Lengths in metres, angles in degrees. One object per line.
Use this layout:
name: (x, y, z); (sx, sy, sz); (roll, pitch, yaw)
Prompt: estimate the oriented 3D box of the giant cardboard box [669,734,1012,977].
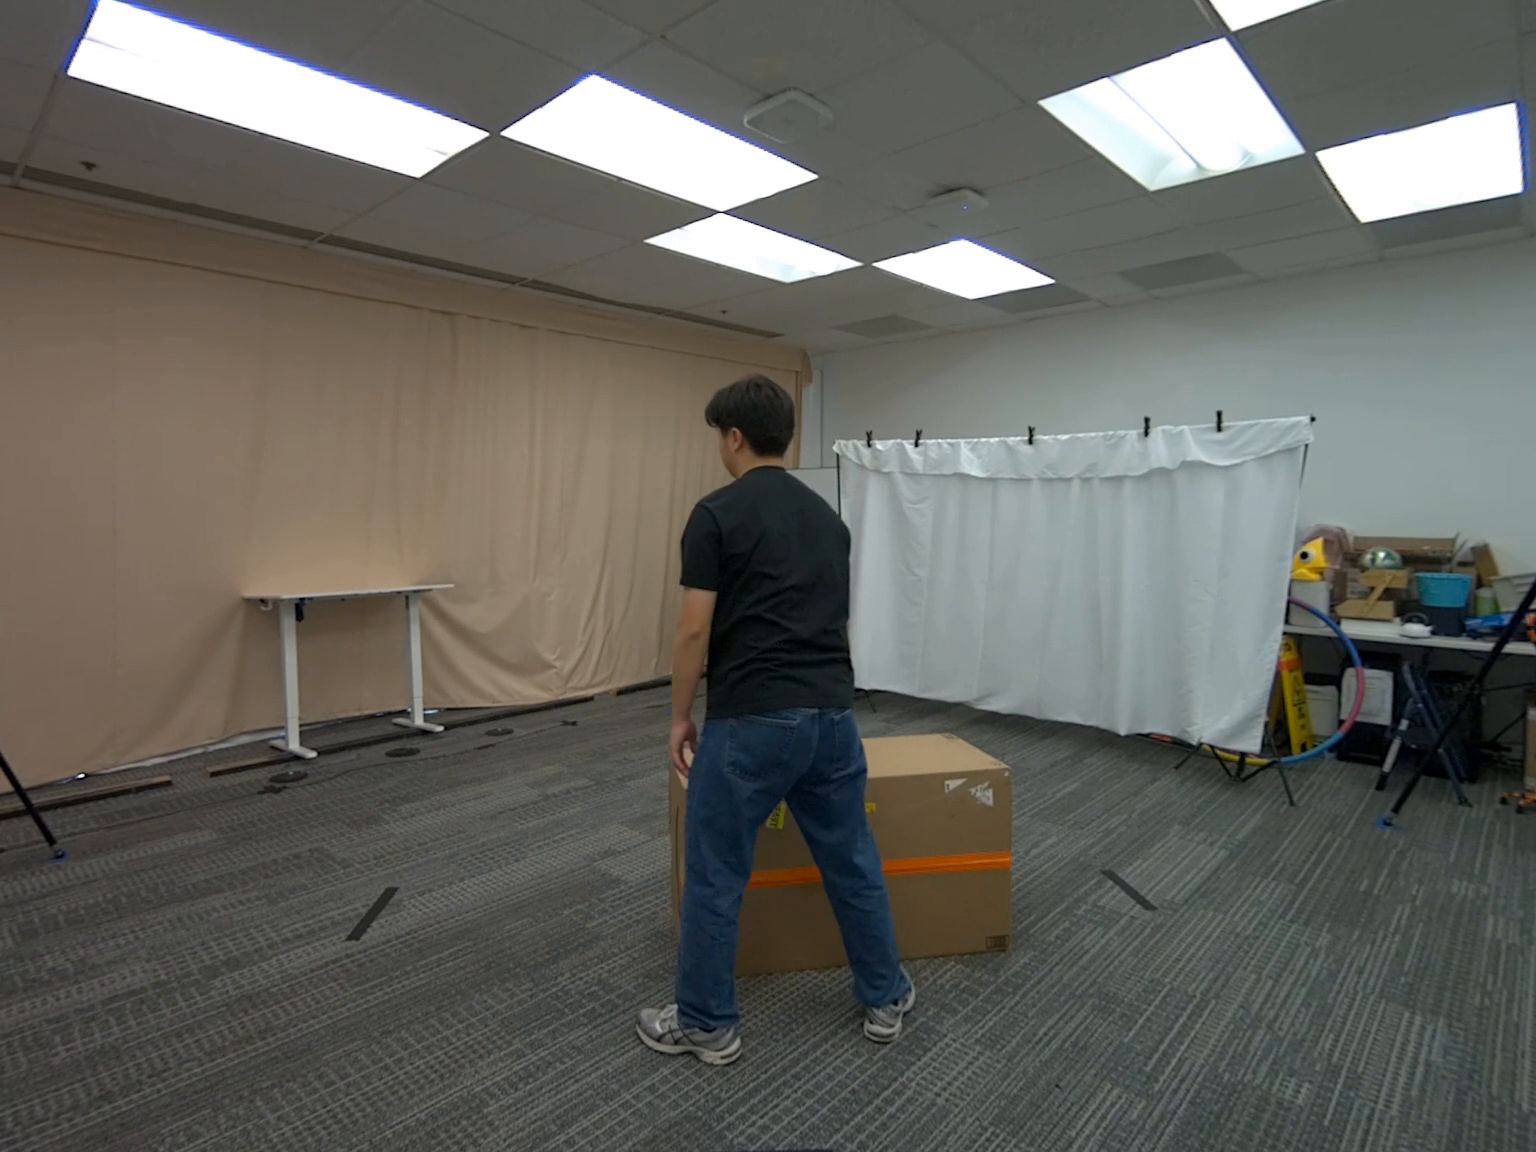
giant cardboard box: (0.216, 0.877, 2.736); (1.015, 0.582, 0.453); (-2, 5, -11)
